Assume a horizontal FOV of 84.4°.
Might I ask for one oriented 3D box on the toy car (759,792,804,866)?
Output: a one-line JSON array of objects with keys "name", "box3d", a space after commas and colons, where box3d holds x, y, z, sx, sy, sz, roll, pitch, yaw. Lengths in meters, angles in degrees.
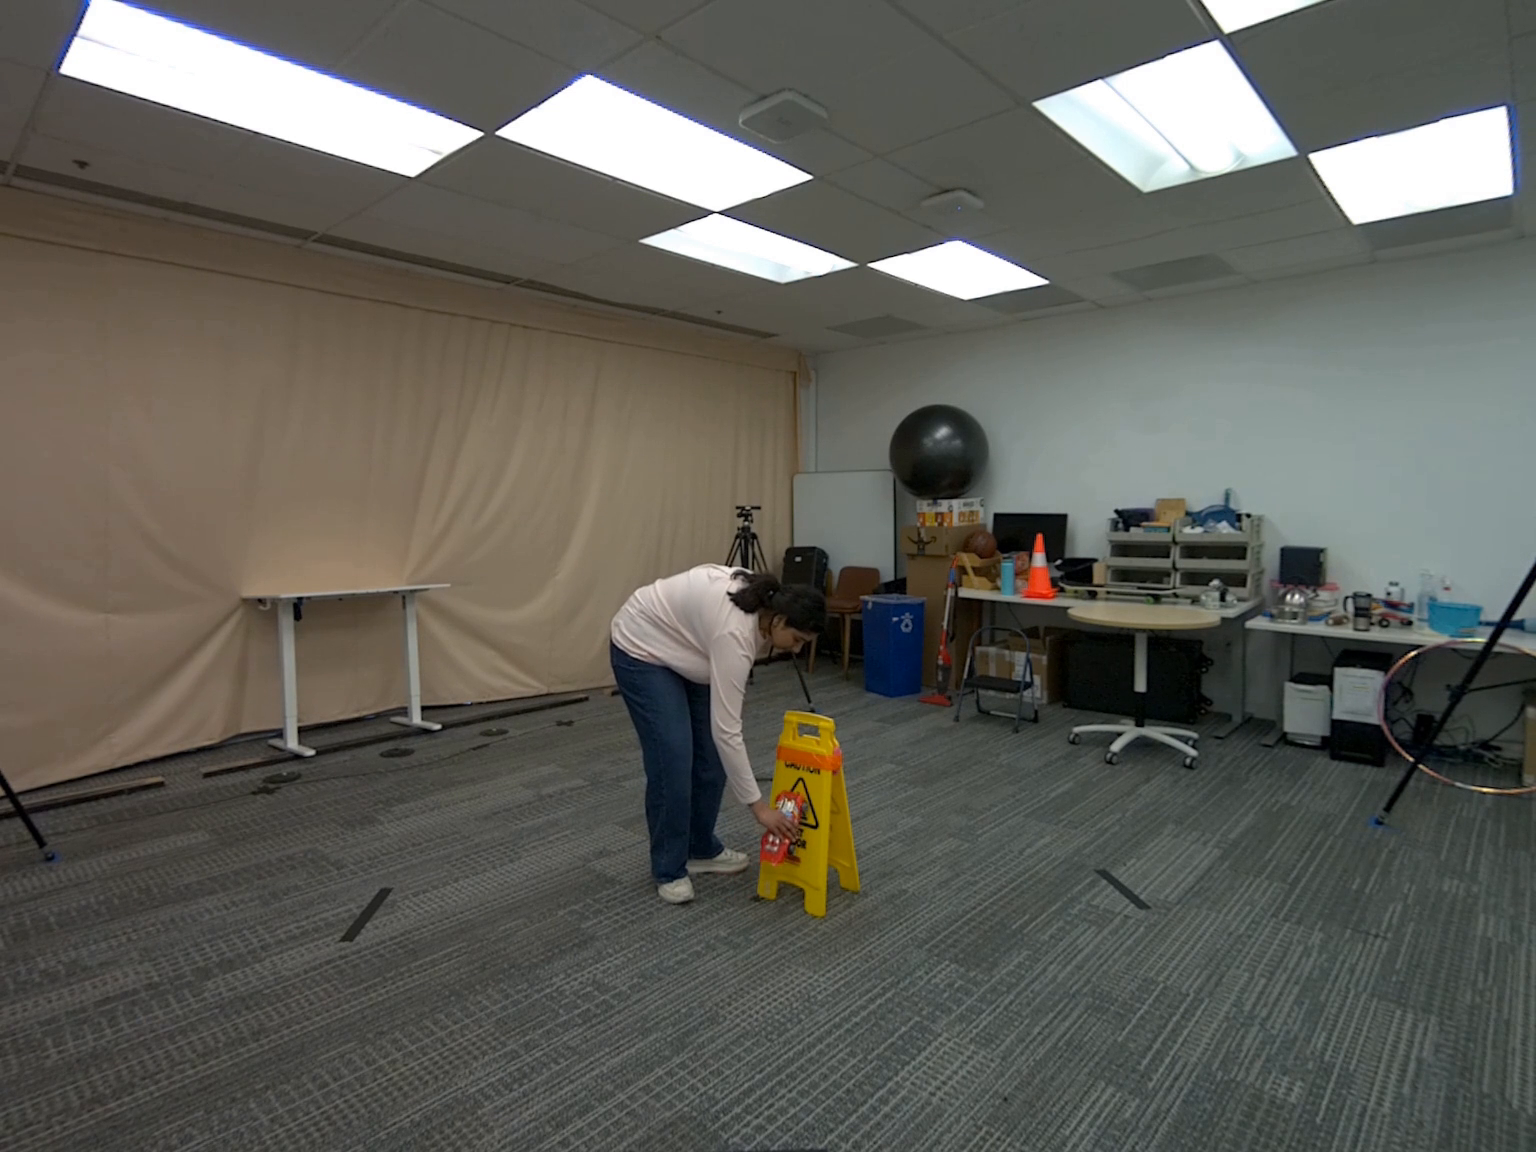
[{"name": "toy car", "box3d": [0.052, 0.870, 2.904, 0.134, 0.254, 0.080, 4, -38, 38]}]
